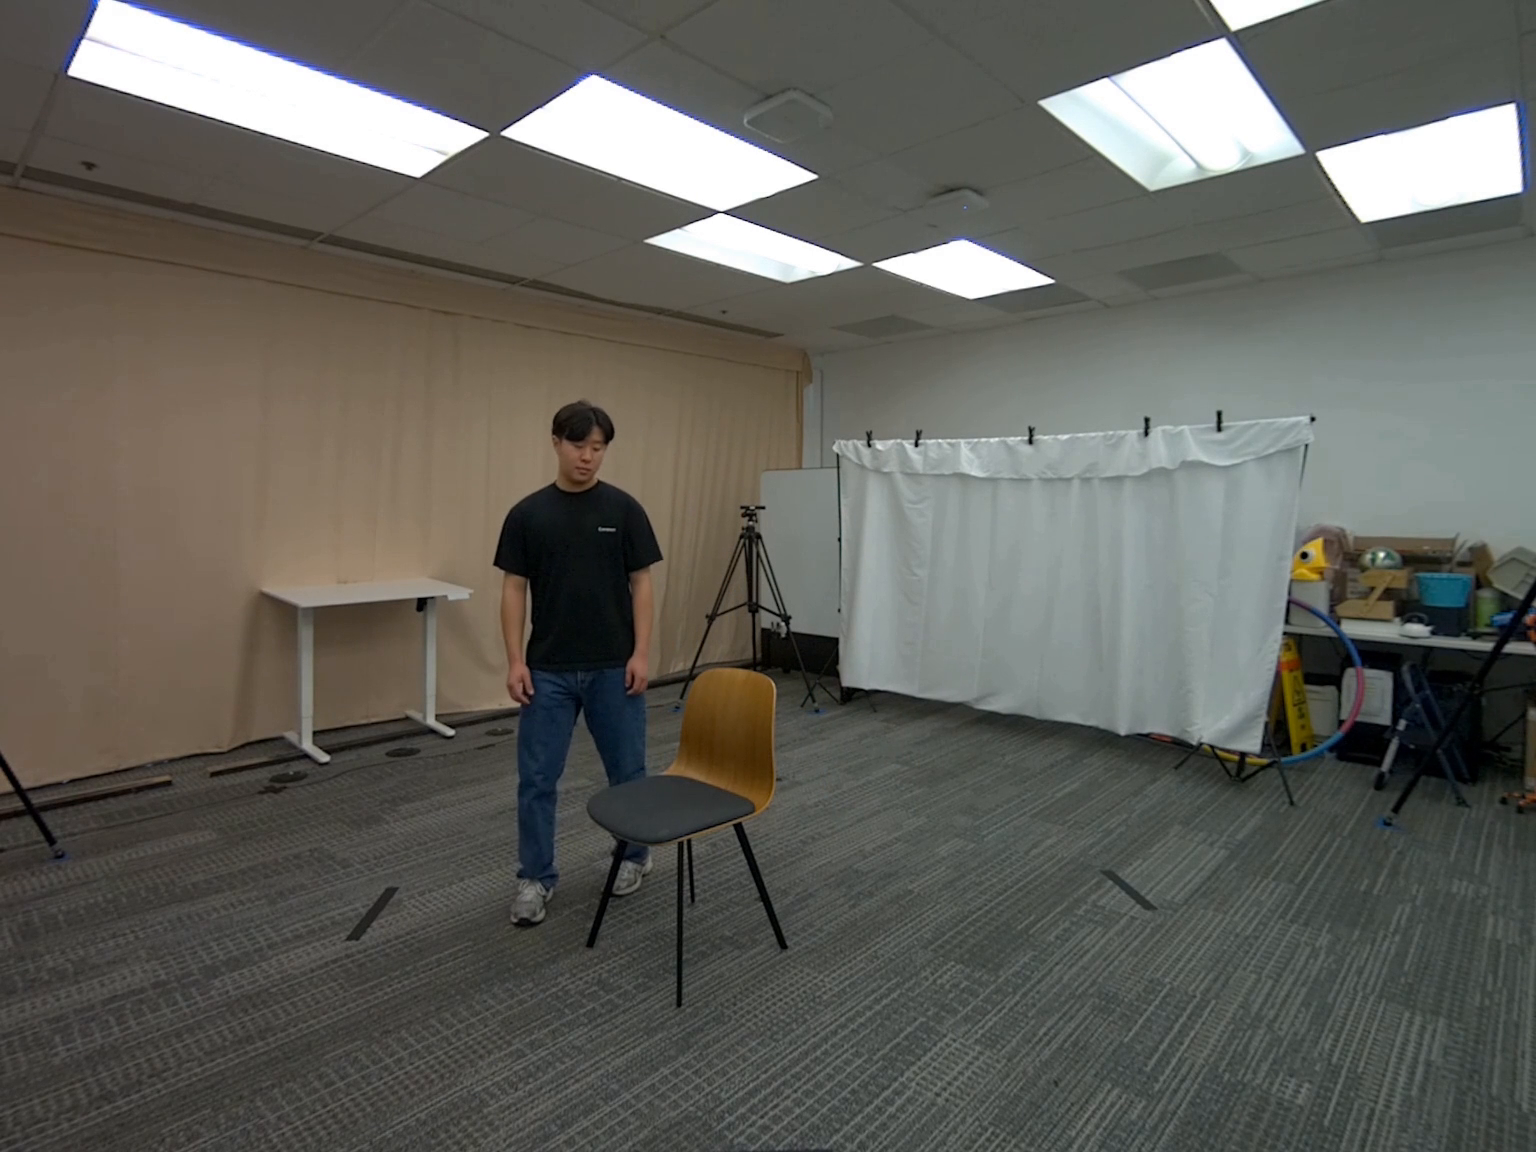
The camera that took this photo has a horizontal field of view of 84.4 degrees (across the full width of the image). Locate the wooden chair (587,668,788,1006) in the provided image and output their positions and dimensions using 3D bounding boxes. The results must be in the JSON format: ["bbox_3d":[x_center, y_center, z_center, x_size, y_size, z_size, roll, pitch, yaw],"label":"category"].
[{"bbox_3d":[-0.257,0.748,2.615,0.494,0.877,0.506,3,1,44],"label":"wooden chair"}]
